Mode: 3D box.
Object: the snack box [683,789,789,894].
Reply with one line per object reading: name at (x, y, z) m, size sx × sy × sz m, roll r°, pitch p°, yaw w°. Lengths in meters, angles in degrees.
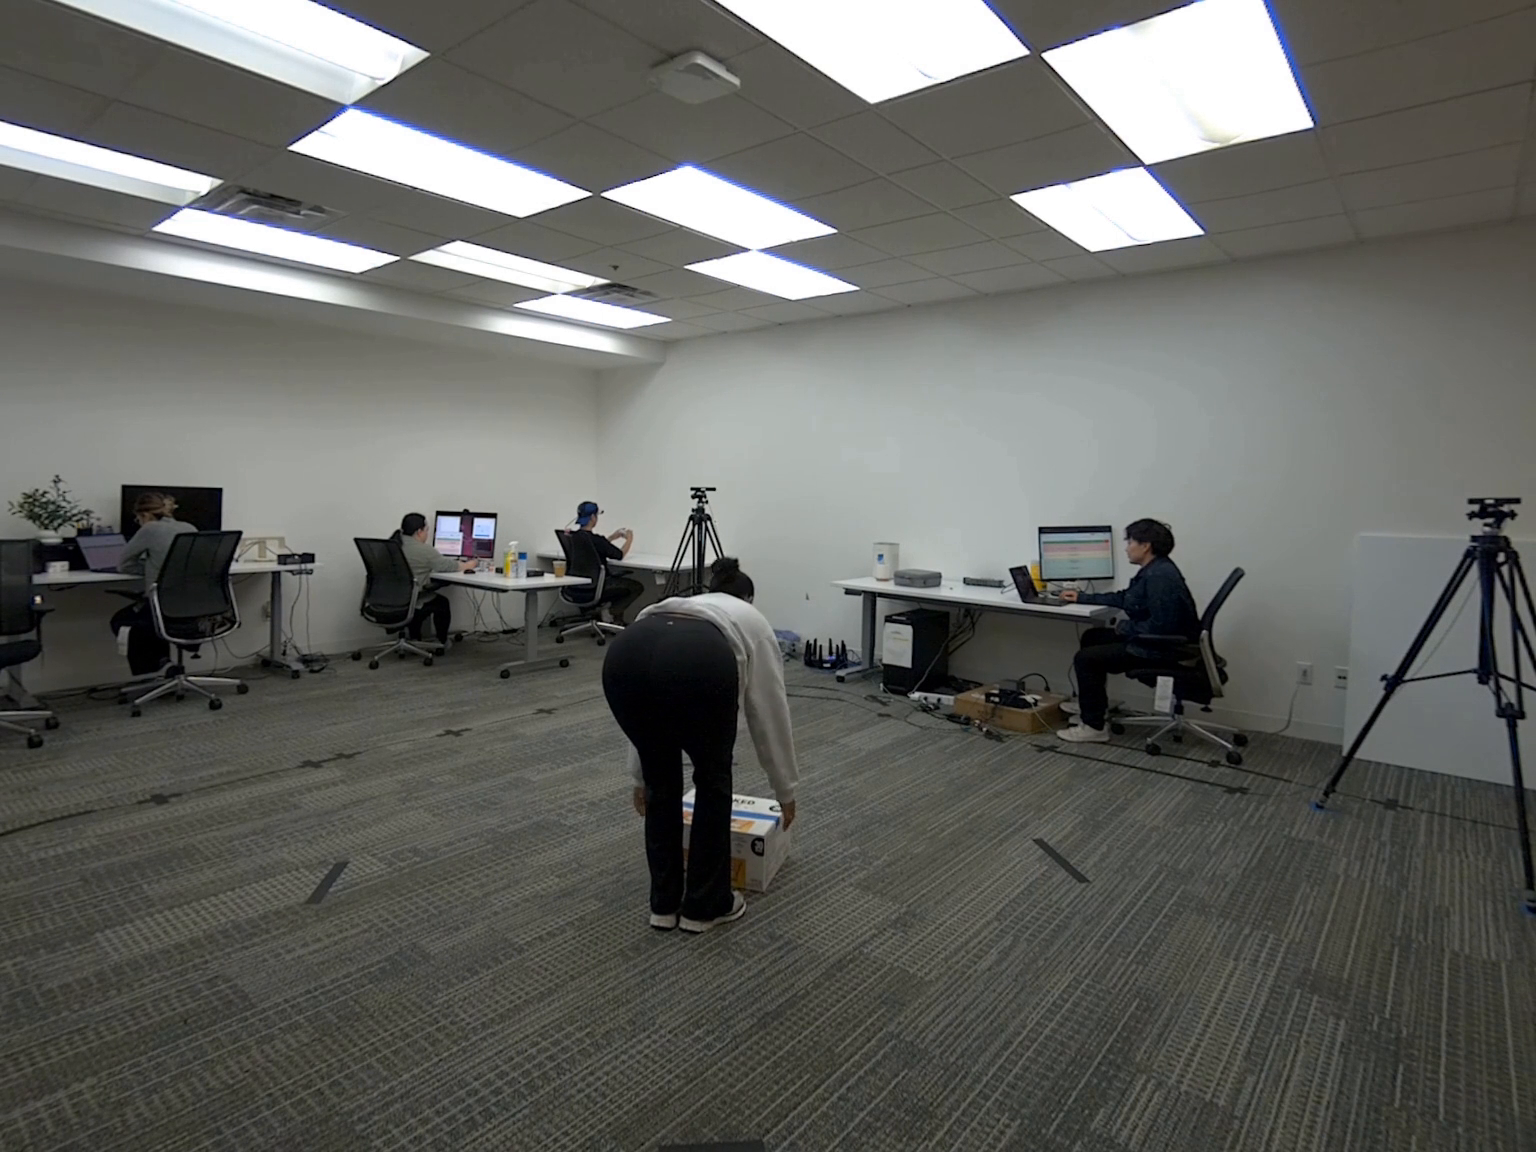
snack box at (-0.165, 0.962, 3.141) m, size 0.413 × 0.205 × 0.335 m, roll 2°, pitch 6°, yaw 18°
